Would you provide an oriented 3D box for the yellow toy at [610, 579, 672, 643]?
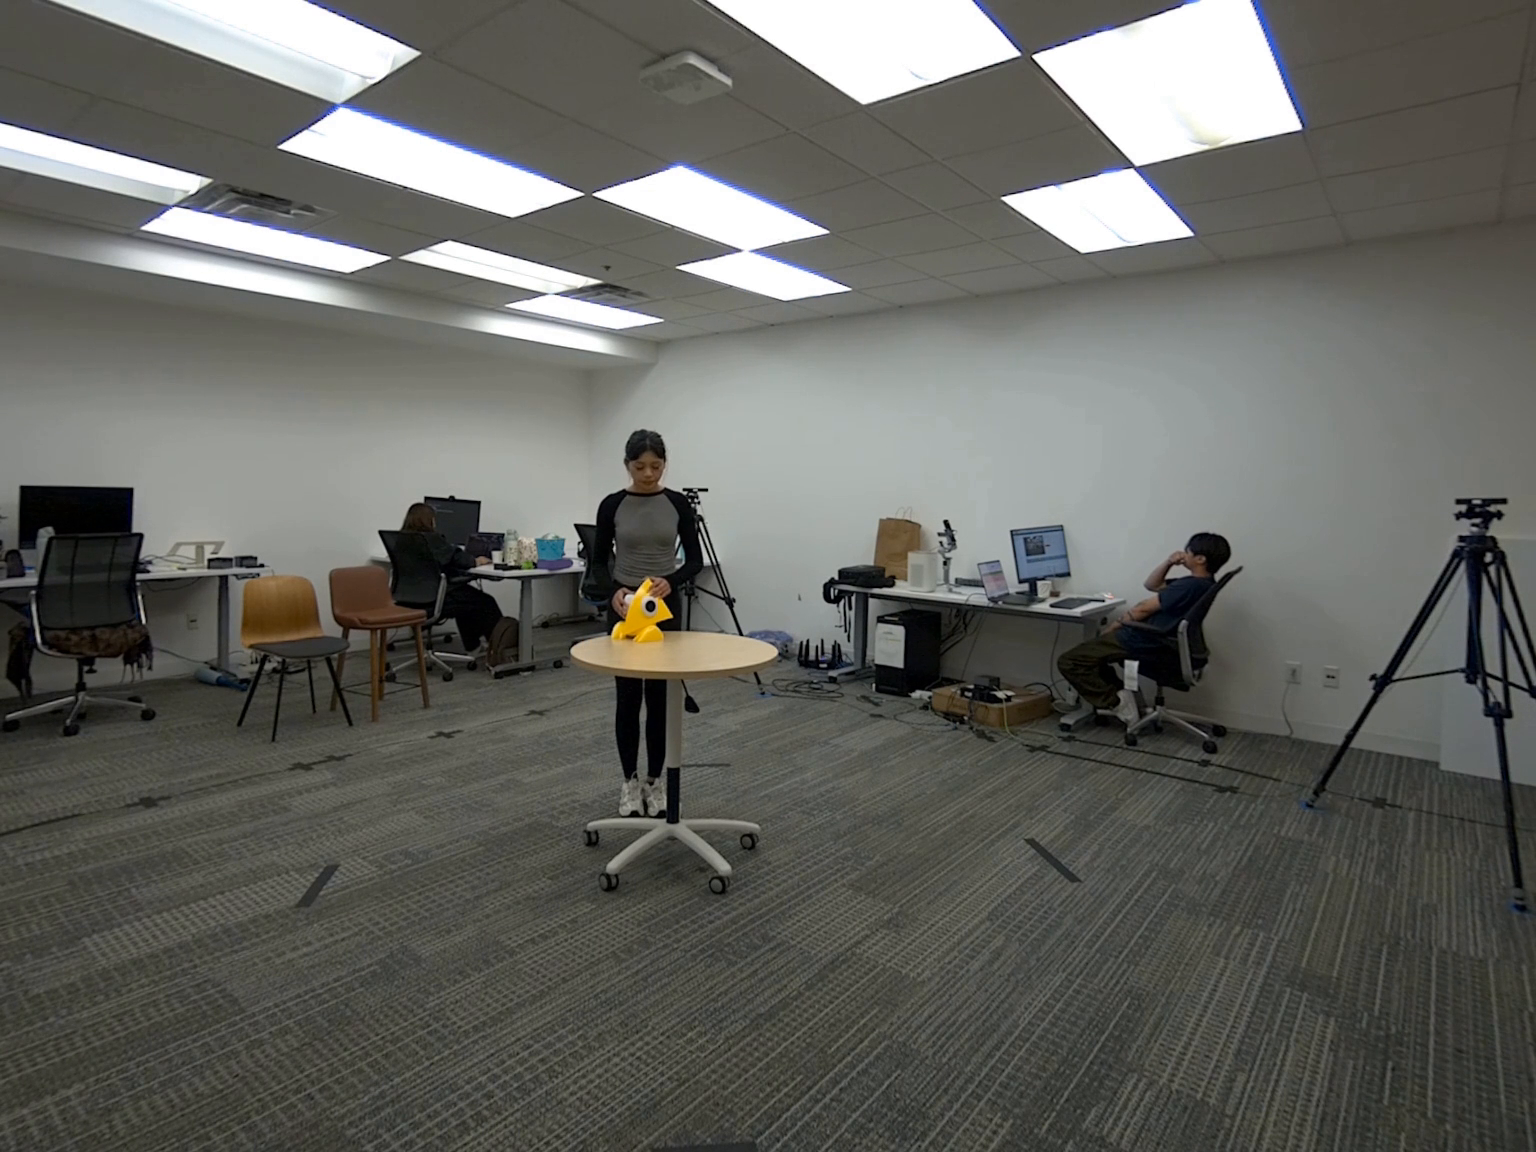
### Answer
[{"bbox_3d":[-0.519,0.129,3.392,0.210,0.230,0.188,2,5,29],"label":"yellow toy"}]
